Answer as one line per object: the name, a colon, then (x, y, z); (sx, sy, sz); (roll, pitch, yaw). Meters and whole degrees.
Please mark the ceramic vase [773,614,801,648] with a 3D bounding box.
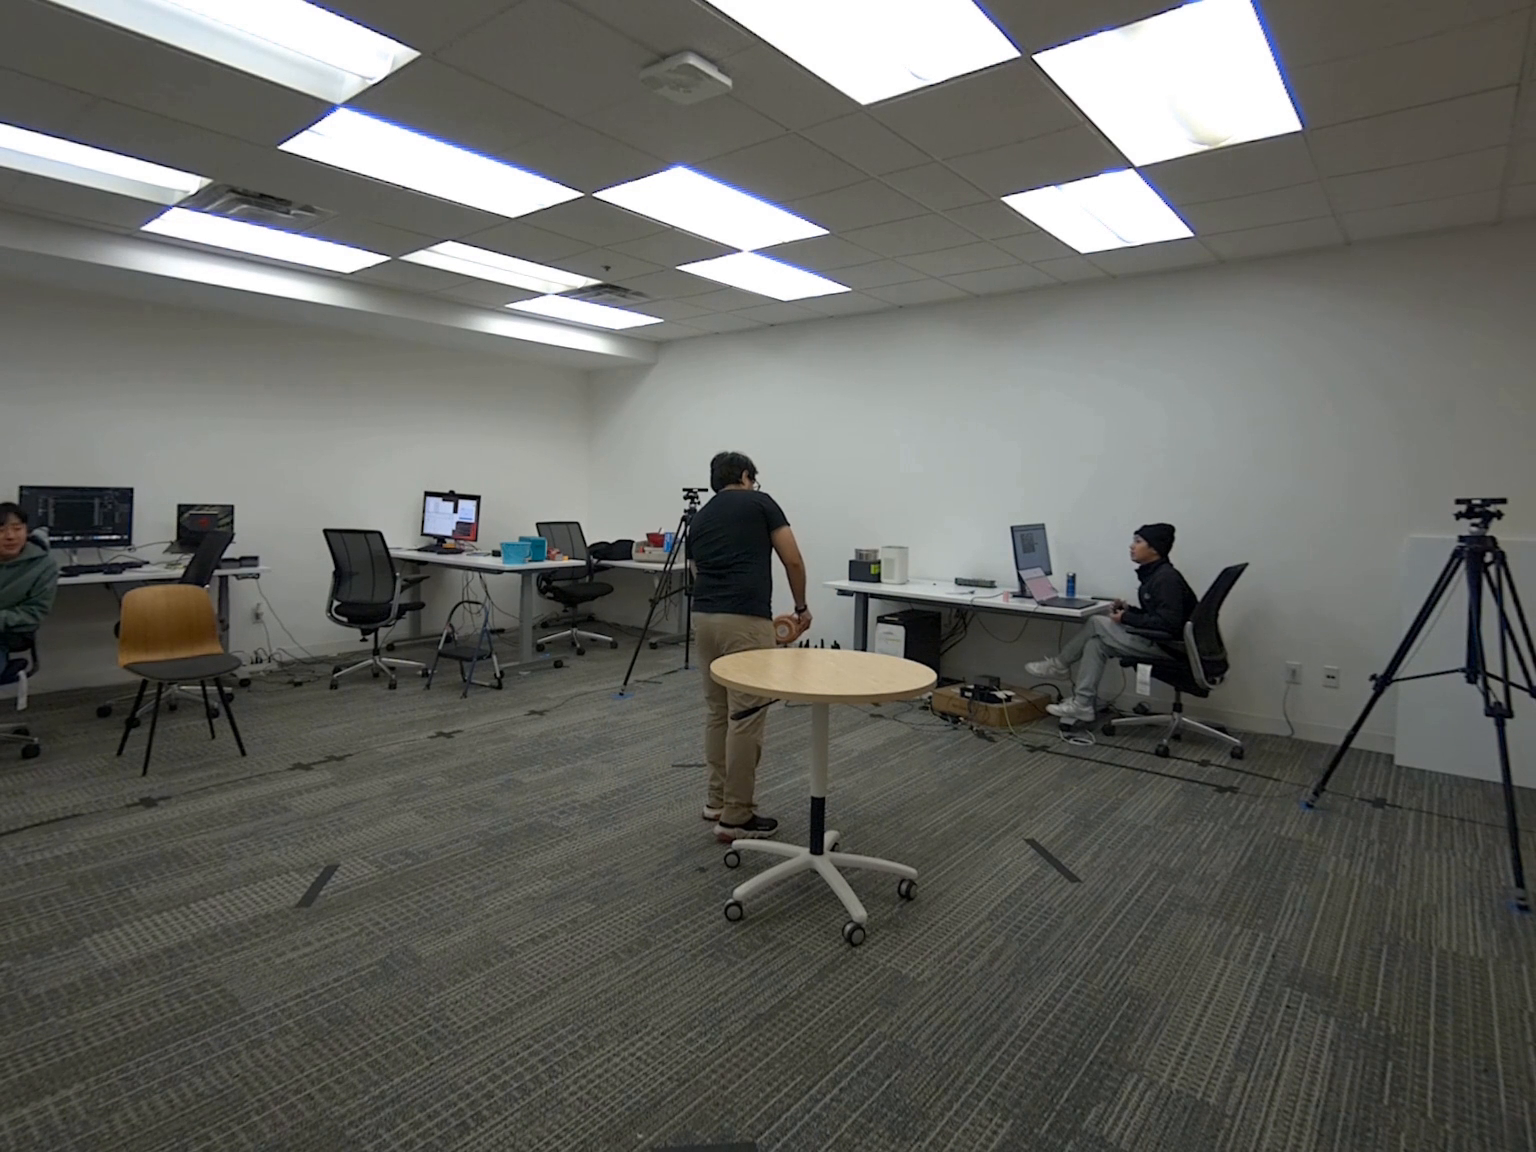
ceramic vase: (0.069, 0.231, 3.797); (0.136, 0.158, 0.217); (29, 5, 8)
